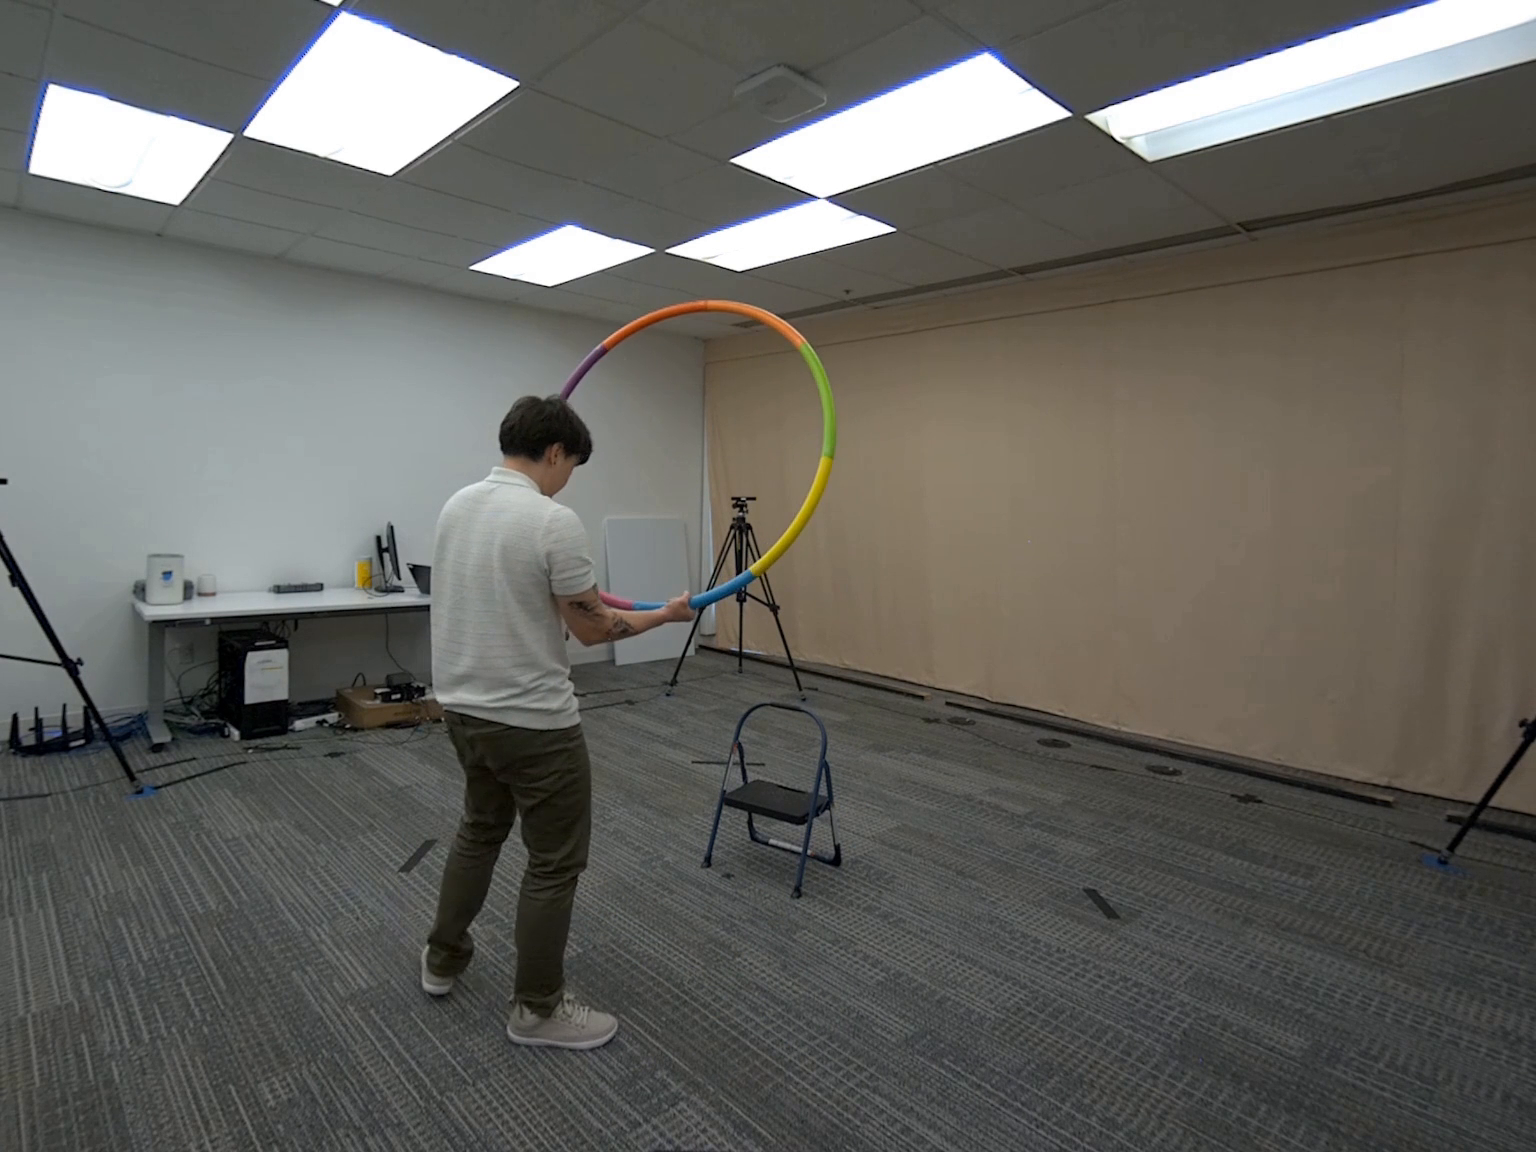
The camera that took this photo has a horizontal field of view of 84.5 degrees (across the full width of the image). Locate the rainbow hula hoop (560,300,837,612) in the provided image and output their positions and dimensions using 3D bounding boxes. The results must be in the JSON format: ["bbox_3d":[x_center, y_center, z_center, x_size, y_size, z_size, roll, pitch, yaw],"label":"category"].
[{"bbox_3d":[-0.295,-0.362,2.466,0.998,0.987,0.034,3,-16,25],"label":"rainbow hula hoop"}]
